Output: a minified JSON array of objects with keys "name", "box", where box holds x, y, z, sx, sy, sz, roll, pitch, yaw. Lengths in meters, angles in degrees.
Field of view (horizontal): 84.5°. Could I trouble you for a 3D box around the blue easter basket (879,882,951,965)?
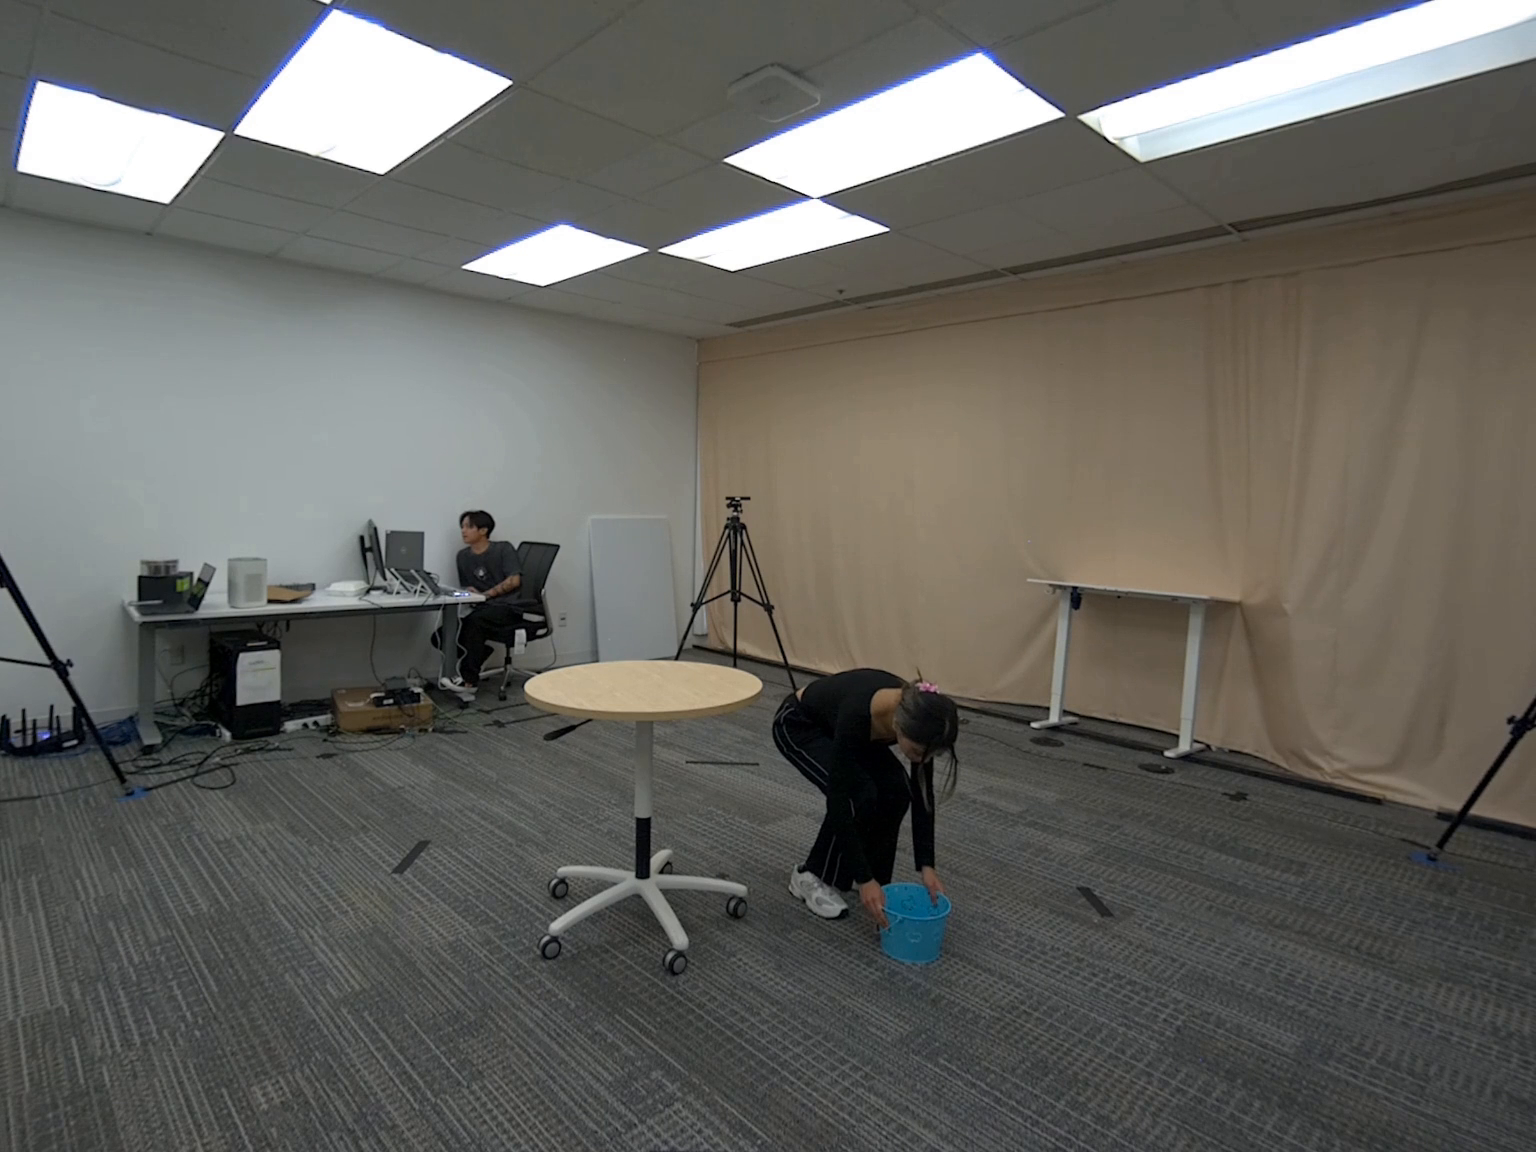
[{"name":"blue easter basket","box":[0.442,1.086,2.641,0.243,0.155,0.244,1,5,-1]}]
